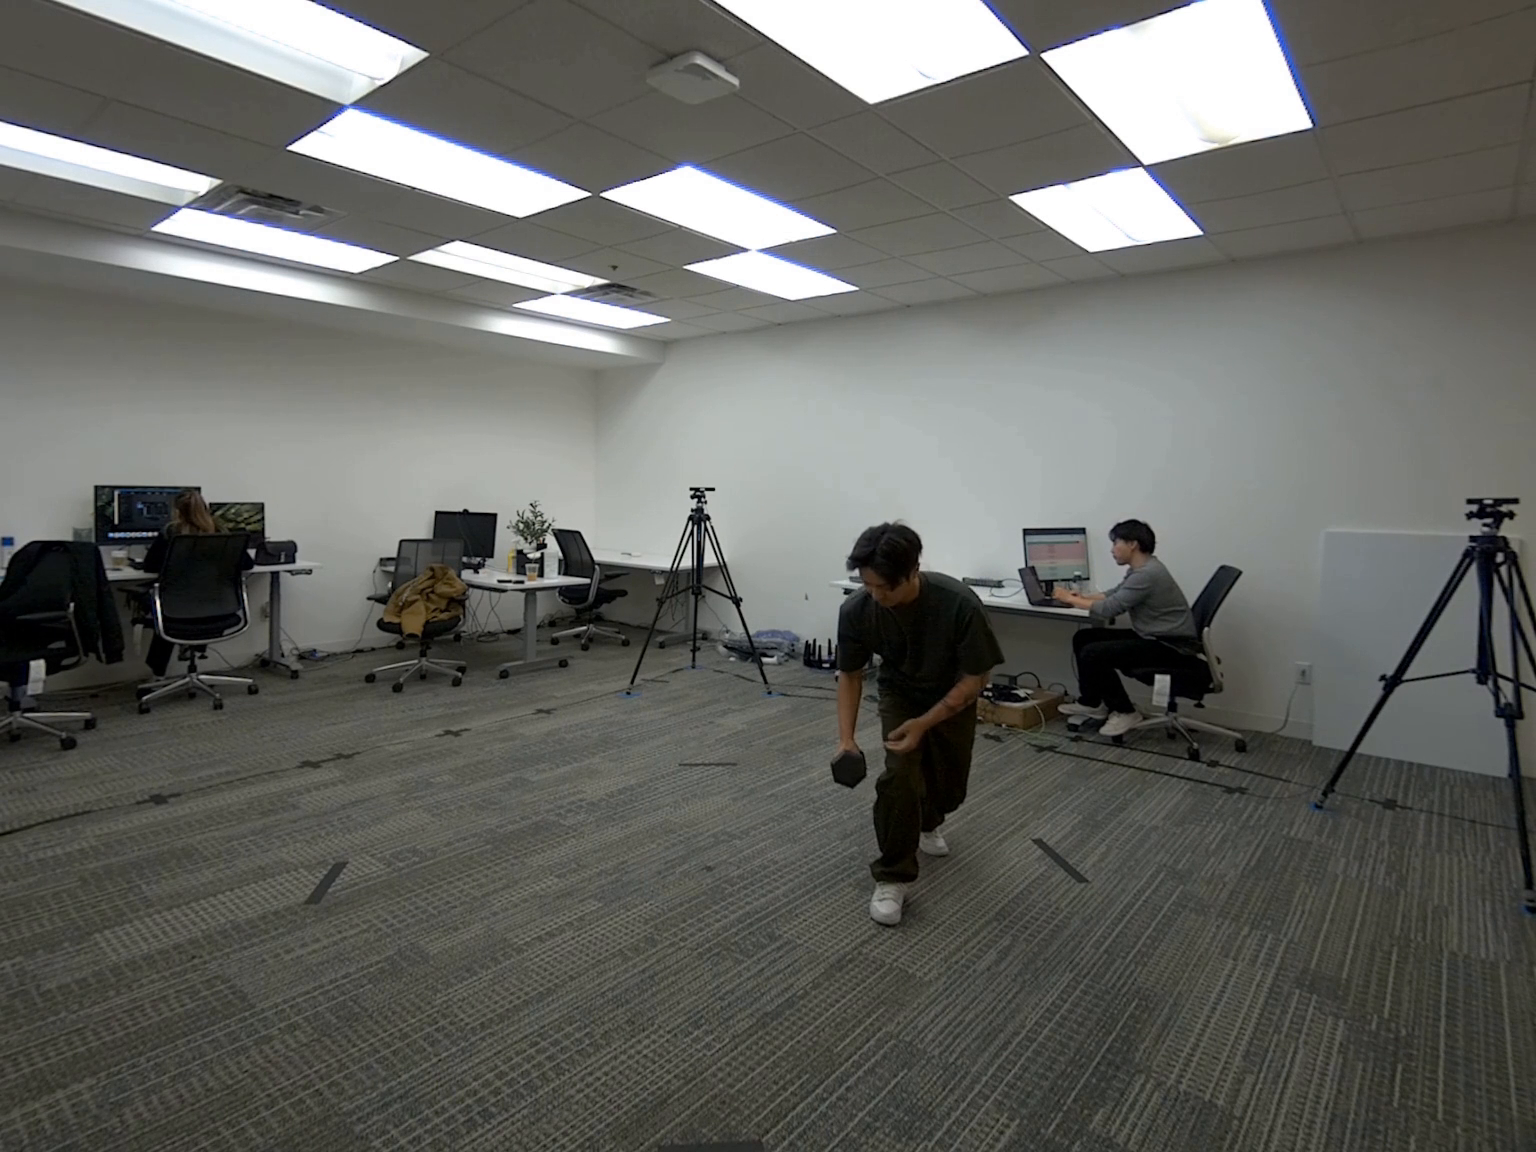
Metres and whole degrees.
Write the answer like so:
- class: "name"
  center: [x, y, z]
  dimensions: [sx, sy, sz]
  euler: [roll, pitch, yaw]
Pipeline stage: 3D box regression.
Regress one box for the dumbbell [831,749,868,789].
- class: "dumbbell"
  center: [0.271, 0.629, 2.851]
  dimensions: [0.124, 0.109, 0.290]
  euler: [17, -4, 5]
